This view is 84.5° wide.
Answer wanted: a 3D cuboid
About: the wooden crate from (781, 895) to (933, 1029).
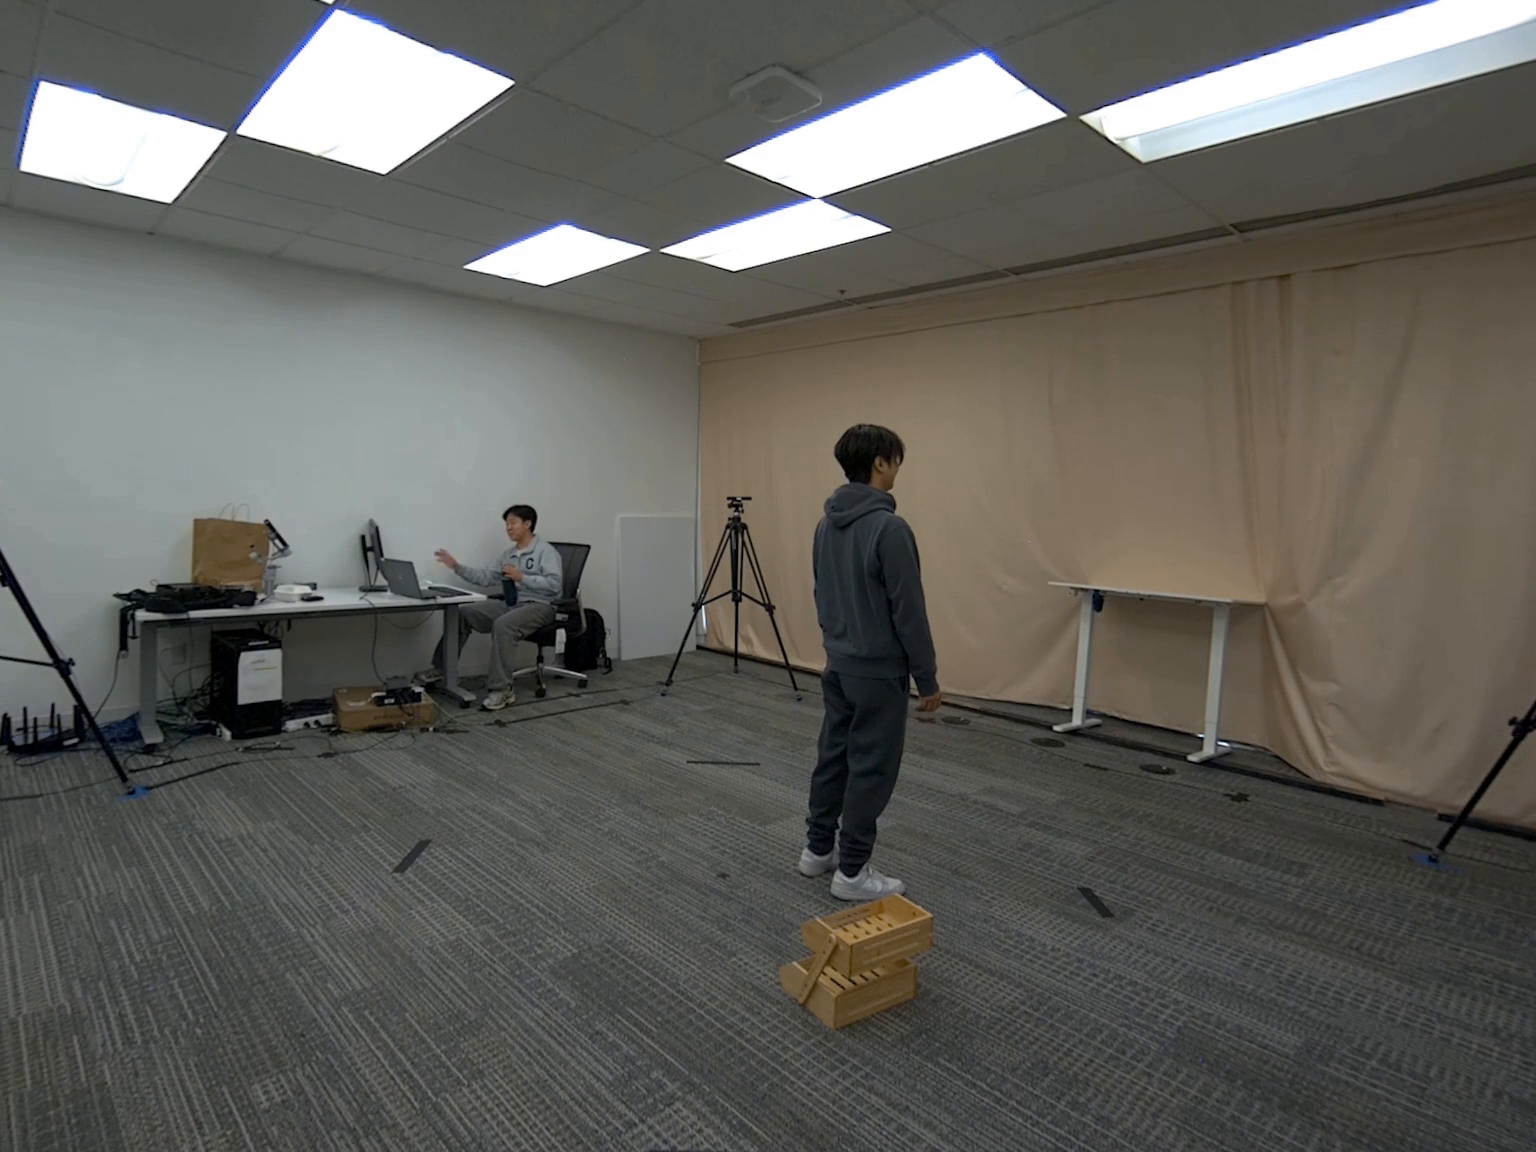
[{"bbox_3d":[0.237,1.046,2.370,0.317,0.272,0.309,-2,6,-35],"label":"wooden crate"}]
